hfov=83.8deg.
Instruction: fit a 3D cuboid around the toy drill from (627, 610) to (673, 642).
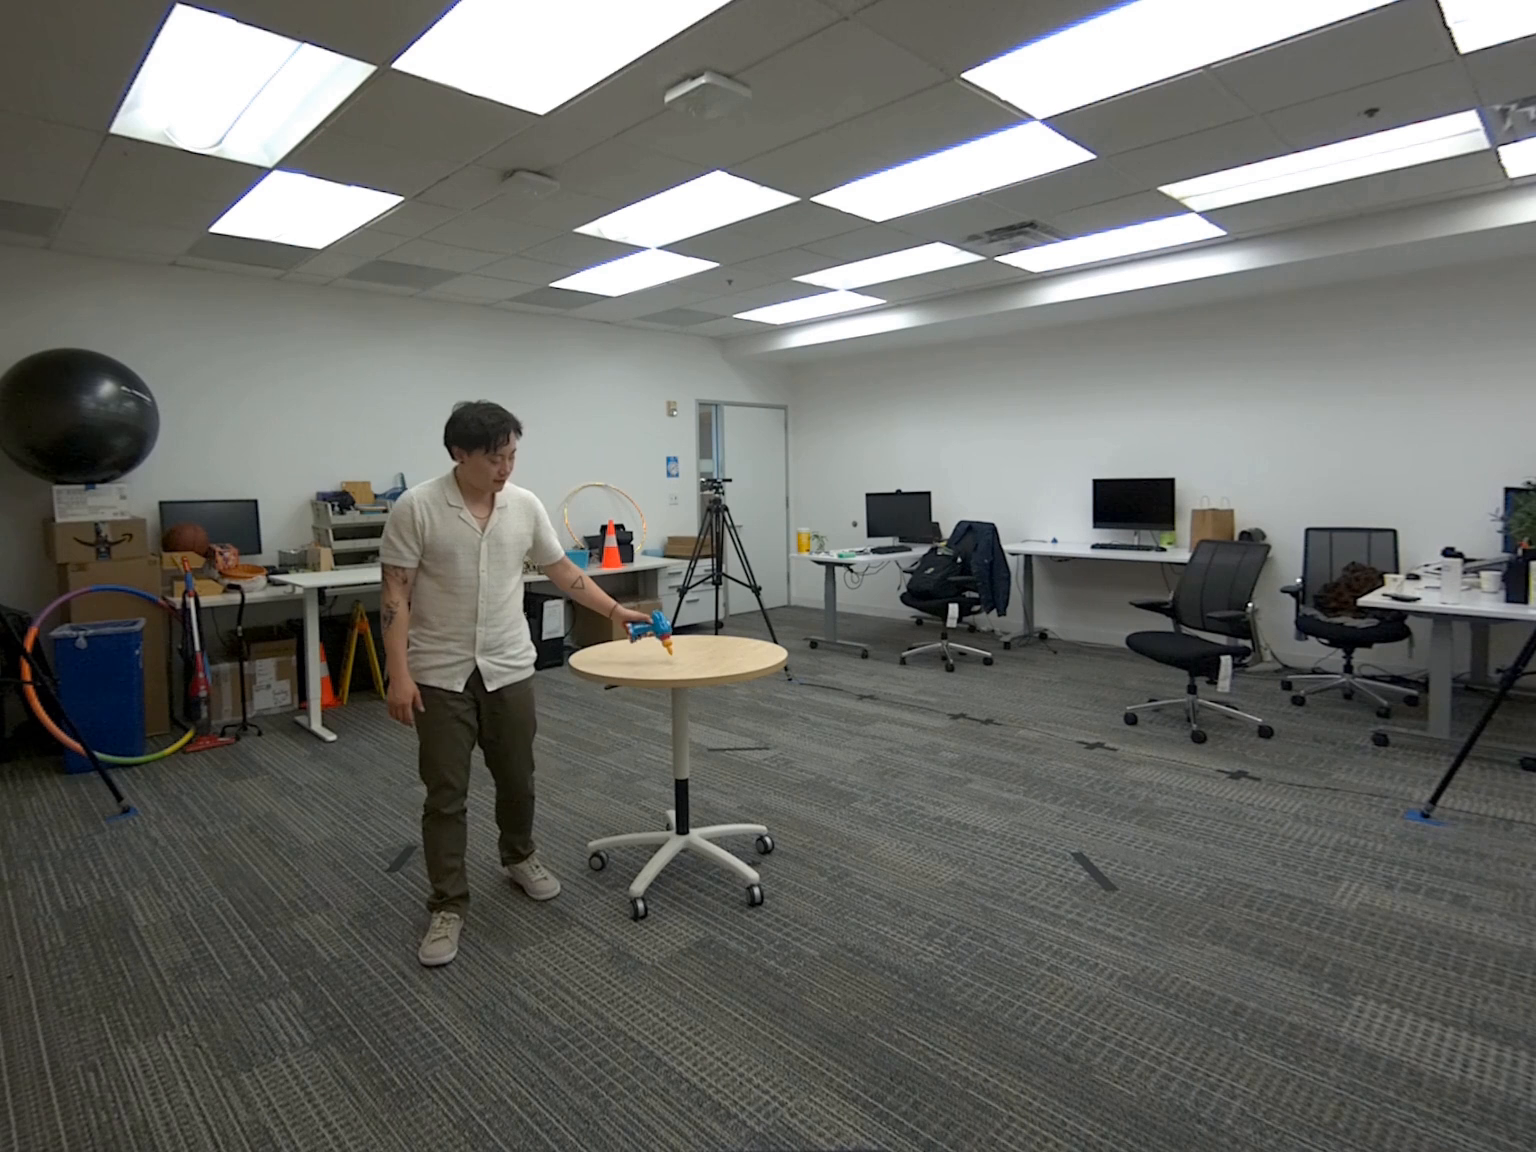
[{"bbox_3d":[-0.393,0.201,2.841,0.145,0.173,0.060,-17,-16,-8],"label":"toy drill"}]
